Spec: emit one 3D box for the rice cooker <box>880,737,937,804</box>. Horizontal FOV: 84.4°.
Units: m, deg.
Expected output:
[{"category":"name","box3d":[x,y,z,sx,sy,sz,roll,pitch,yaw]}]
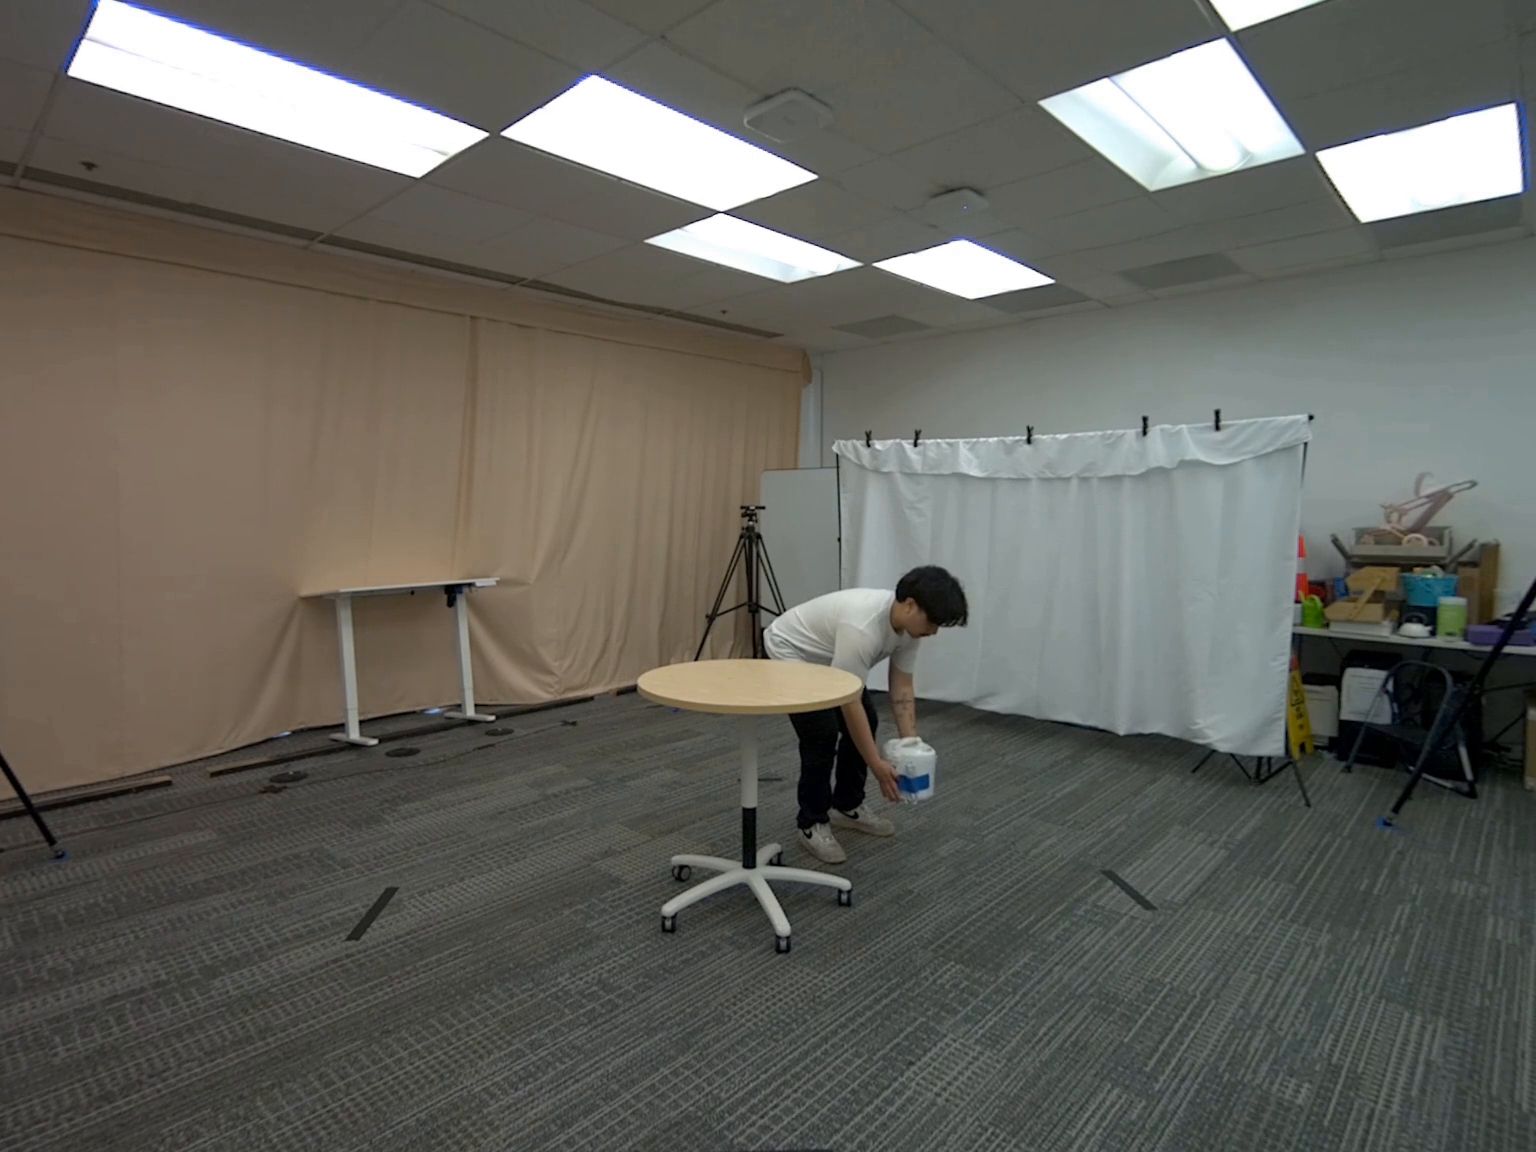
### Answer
[{"category":"rice cooker","box3d":[0.547,0.741,3.284,0.214,0.232,0.224,-2,3,-44]}]
